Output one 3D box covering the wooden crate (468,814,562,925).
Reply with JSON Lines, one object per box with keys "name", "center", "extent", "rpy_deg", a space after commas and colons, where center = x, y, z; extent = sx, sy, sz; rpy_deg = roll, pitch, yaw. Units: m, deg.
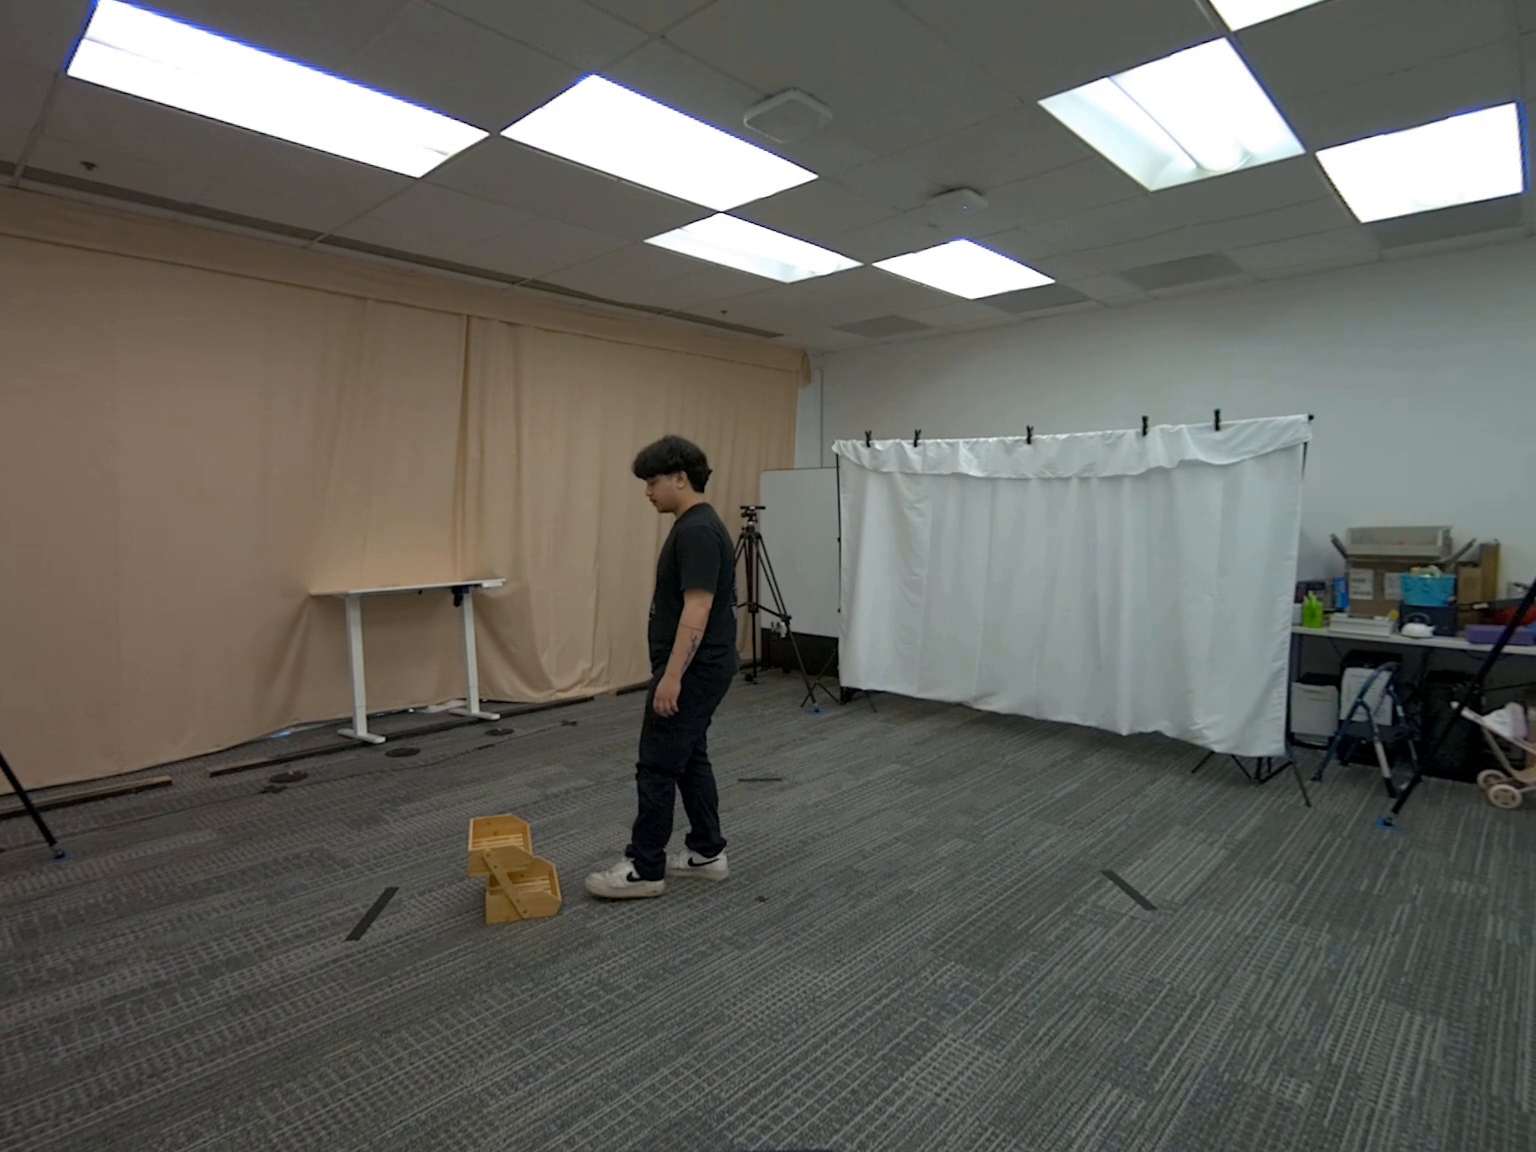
{"name": "wooden crate", "center": [-0.894, 1.018, 2.975], "extent": [0.297, 0.273, 0.330], "rpy_deg": [-3, 4, -17]}
